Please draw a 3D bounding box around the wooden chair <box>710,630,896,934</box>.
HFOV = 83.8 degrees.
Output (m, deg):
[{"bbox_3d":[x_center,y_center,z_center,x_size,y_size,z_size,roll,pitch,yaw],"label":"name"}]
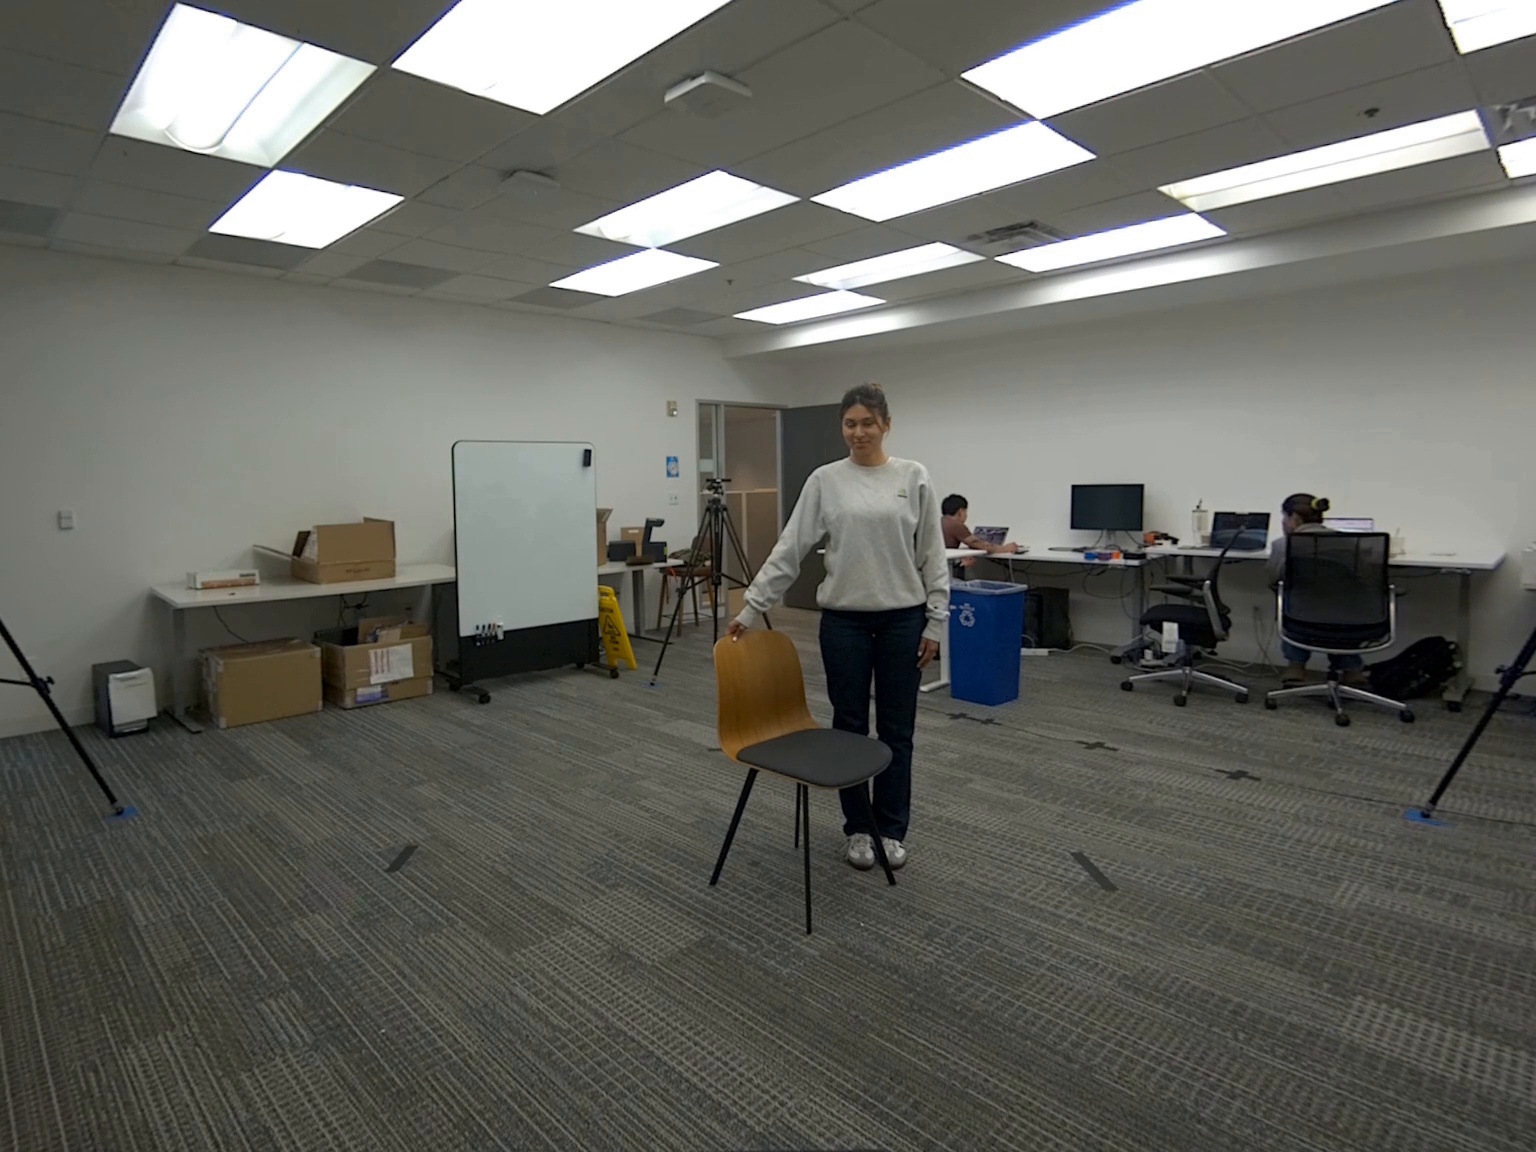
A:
[{"bbox_3d":[0.114,0.640,2.889,0.465,0.877,0.538,-4,1,-45],"label":"wooden chair"}]
